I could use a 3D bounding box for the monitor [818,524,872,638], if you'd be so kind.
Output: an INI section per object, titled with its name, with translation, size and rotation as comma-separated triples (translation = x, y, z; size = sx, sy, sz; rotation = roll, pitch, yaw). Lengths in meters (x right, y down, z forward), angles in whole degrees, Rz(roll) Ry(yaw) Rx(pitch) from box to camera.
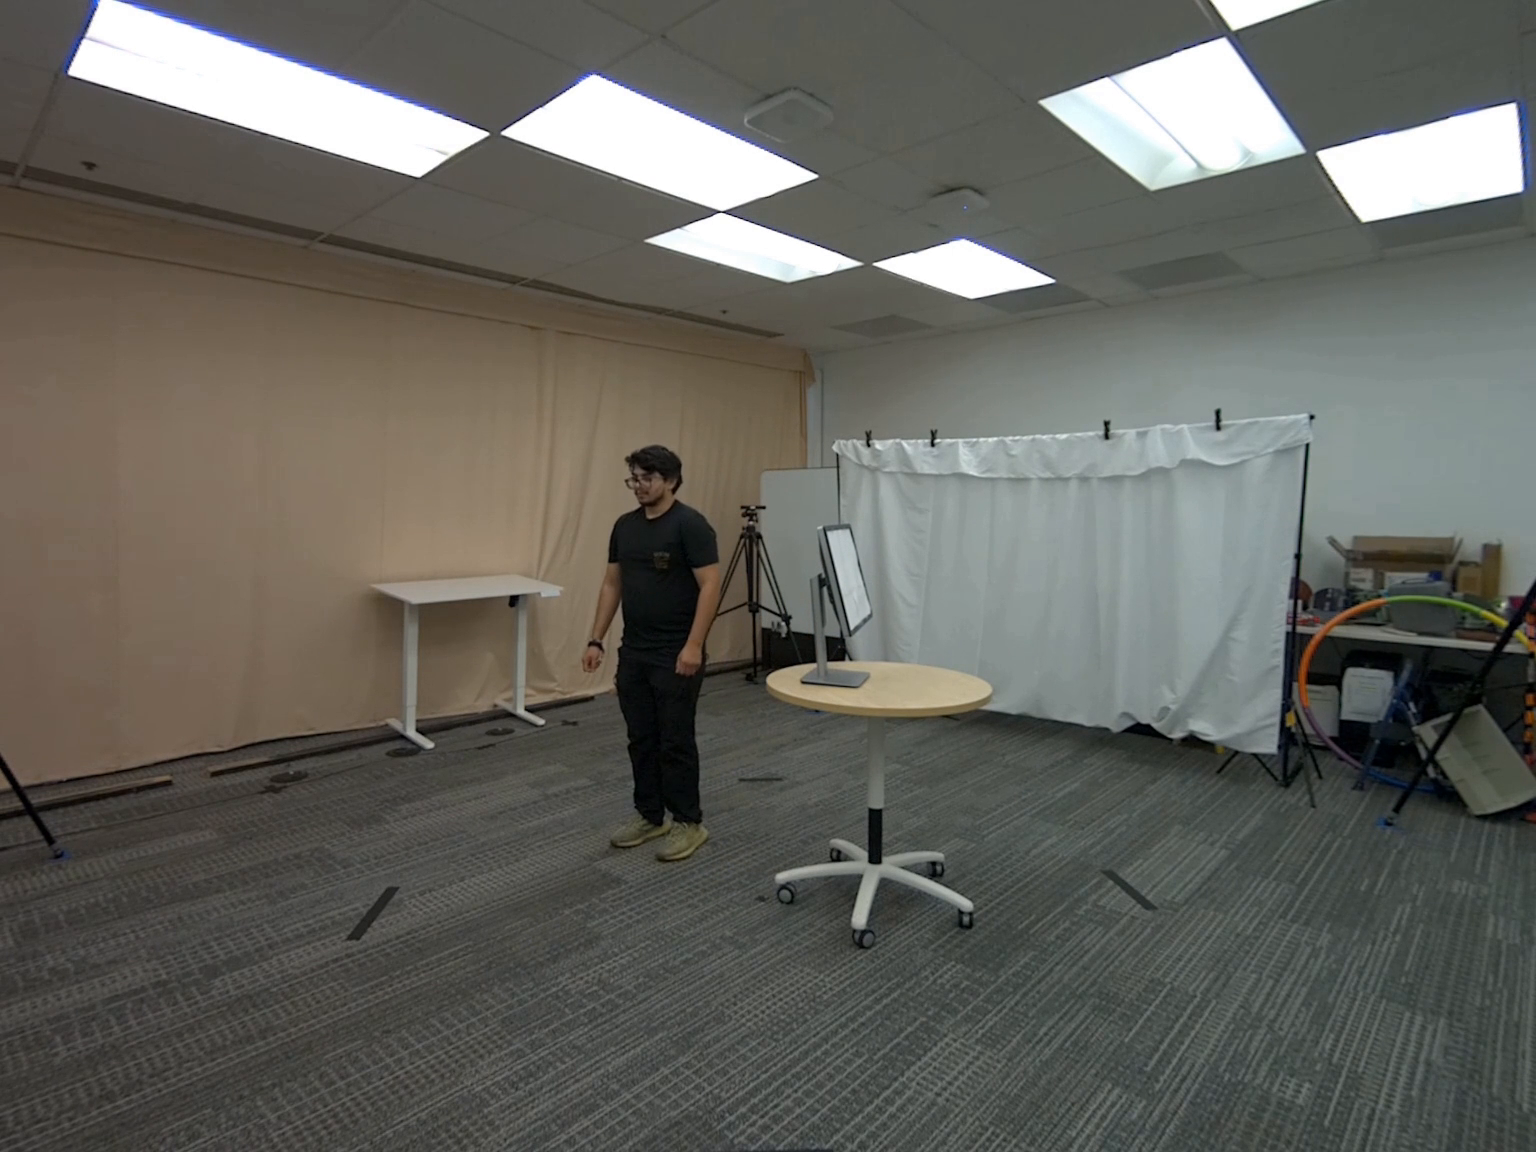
[monitor]
translation = 0.221, 0.097, 2.961
size = 0.214, 0.553, 0.556
rotation = -5, 2, 15
